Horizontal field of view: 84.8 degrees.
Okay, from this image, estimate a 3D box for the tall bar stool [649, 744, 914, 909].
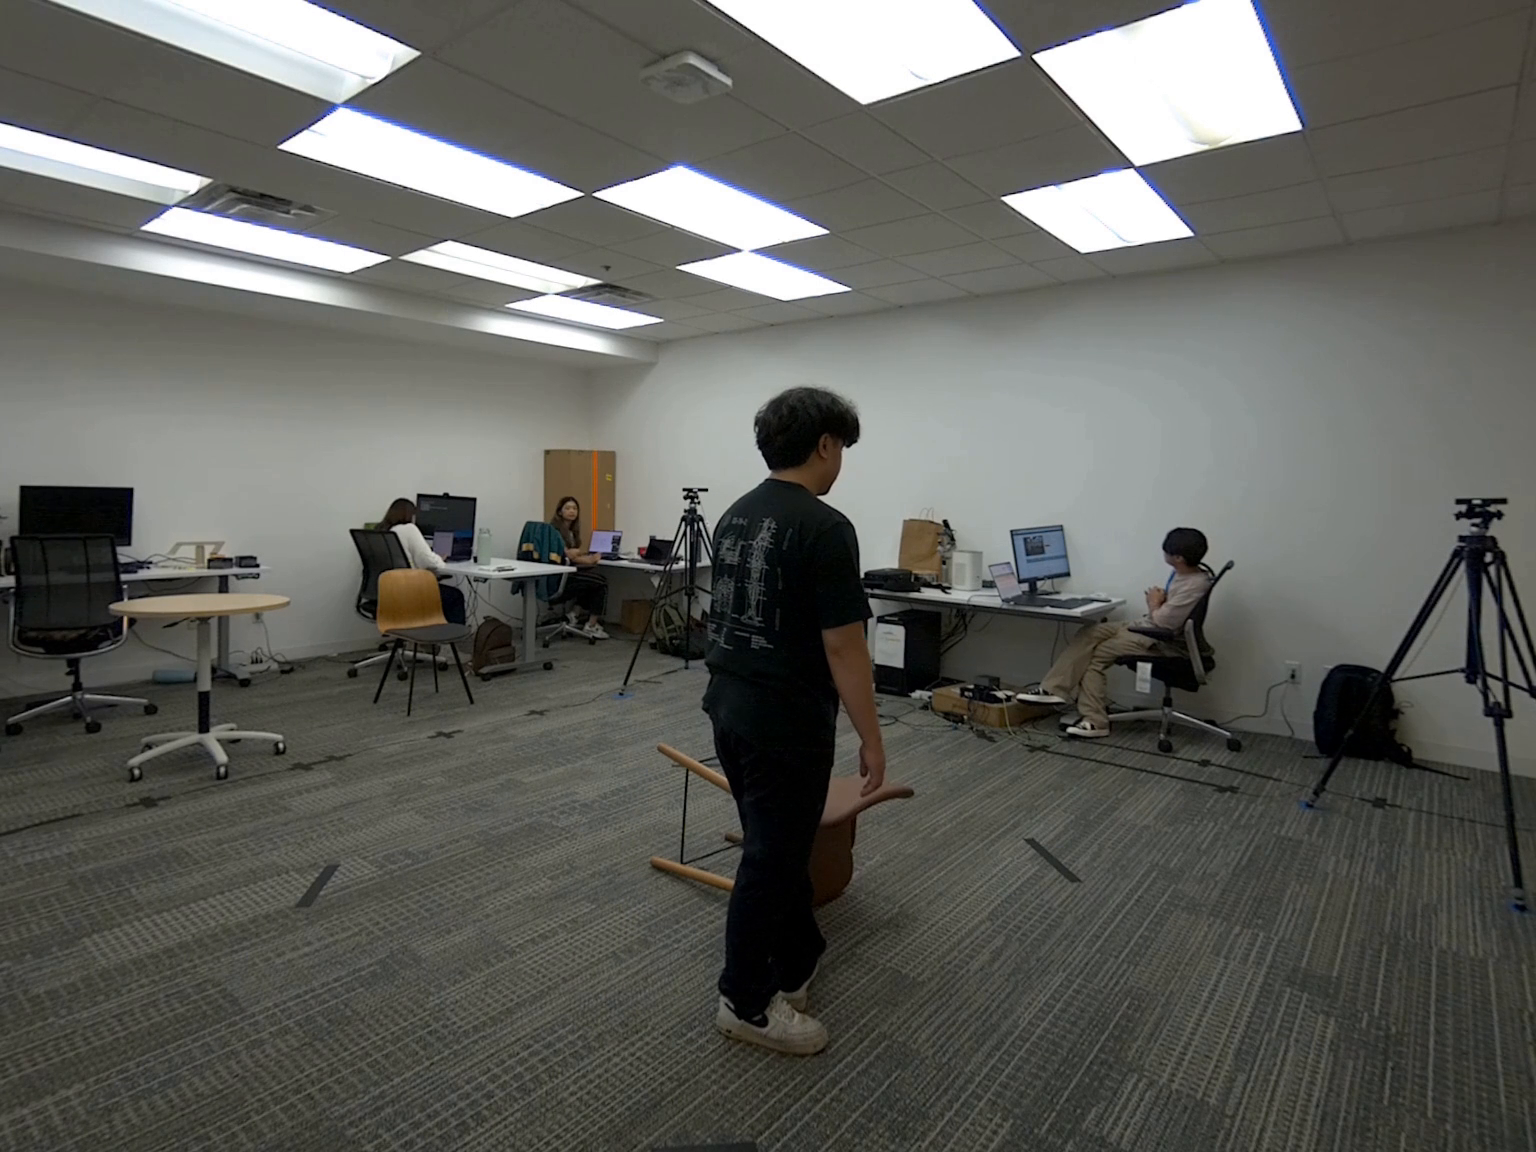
[{"bbox_3d":[0.023,0.862,2.926,0.920,0.467,0.442,5,4,45],"label":"tall bar stool"}]
